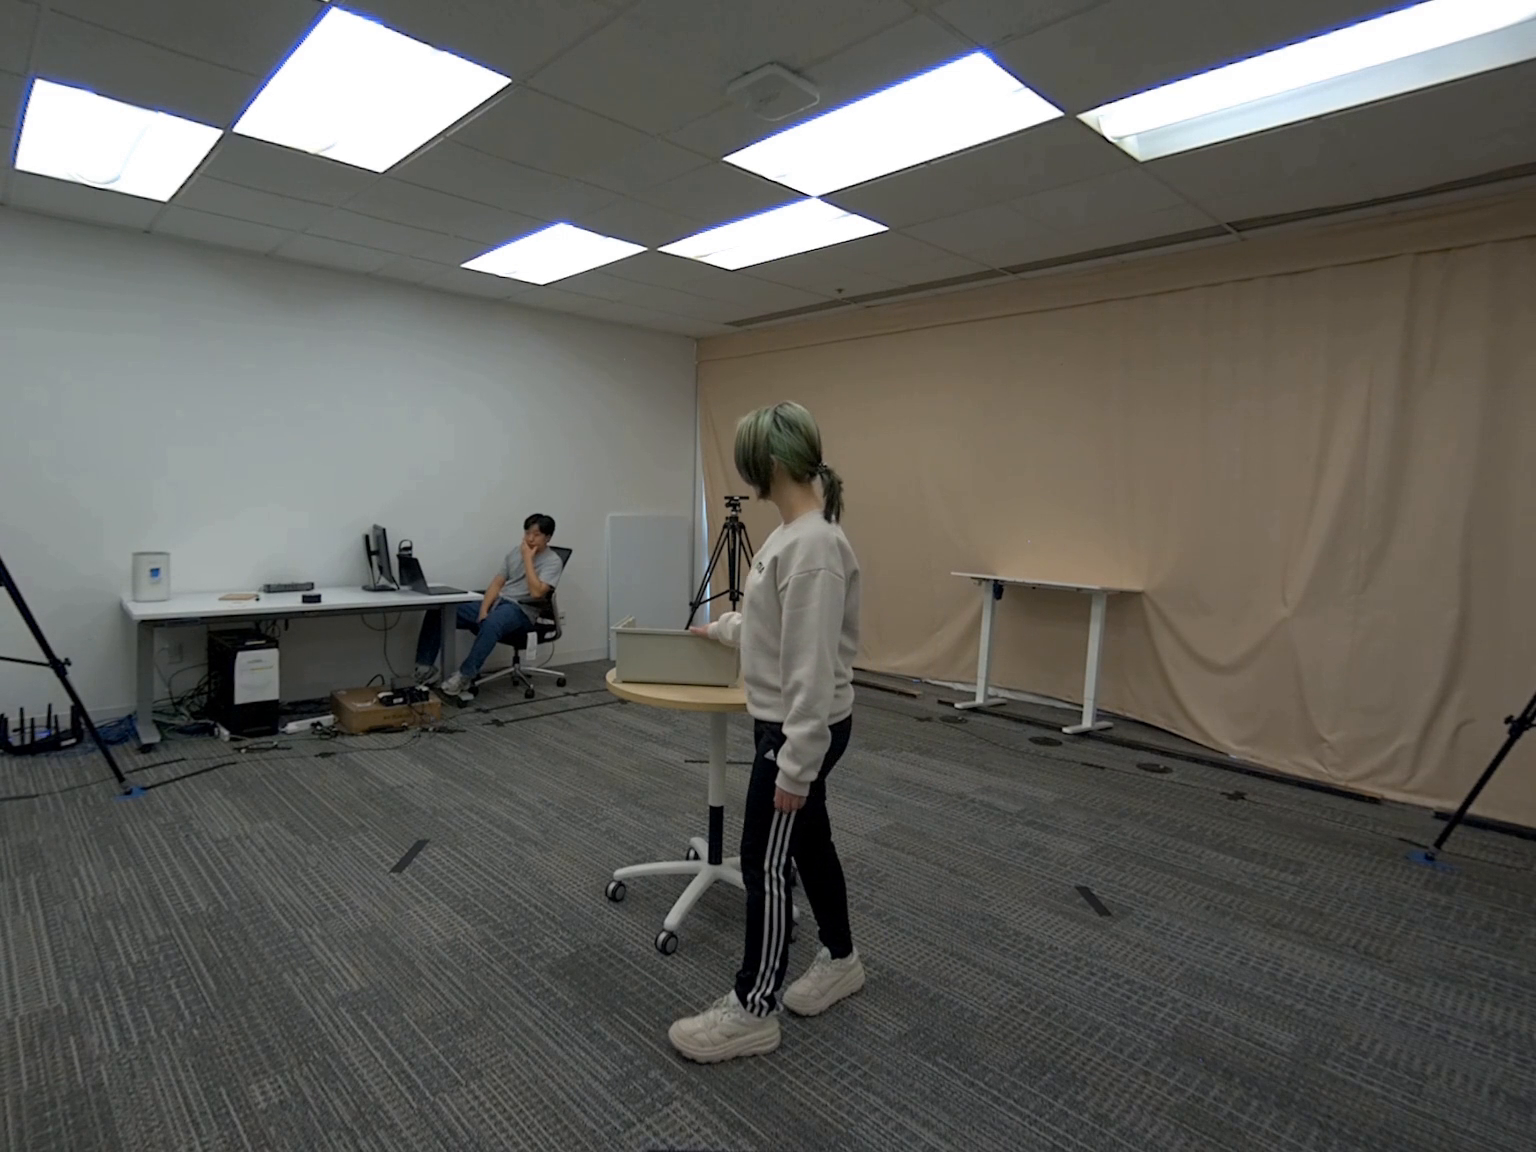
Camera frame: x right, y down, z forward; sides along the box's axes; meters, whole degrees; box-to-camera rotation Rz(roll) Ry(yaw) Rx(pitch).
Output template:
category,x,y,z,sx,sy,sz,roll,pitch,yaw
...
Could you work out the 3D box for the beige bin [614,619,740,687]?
category,x,y,z,sx,sy,sz,roll,pitch,yaw
beige bin,-0.292,0.245,2.851,0.424,0.188,0.377,2,7,5
